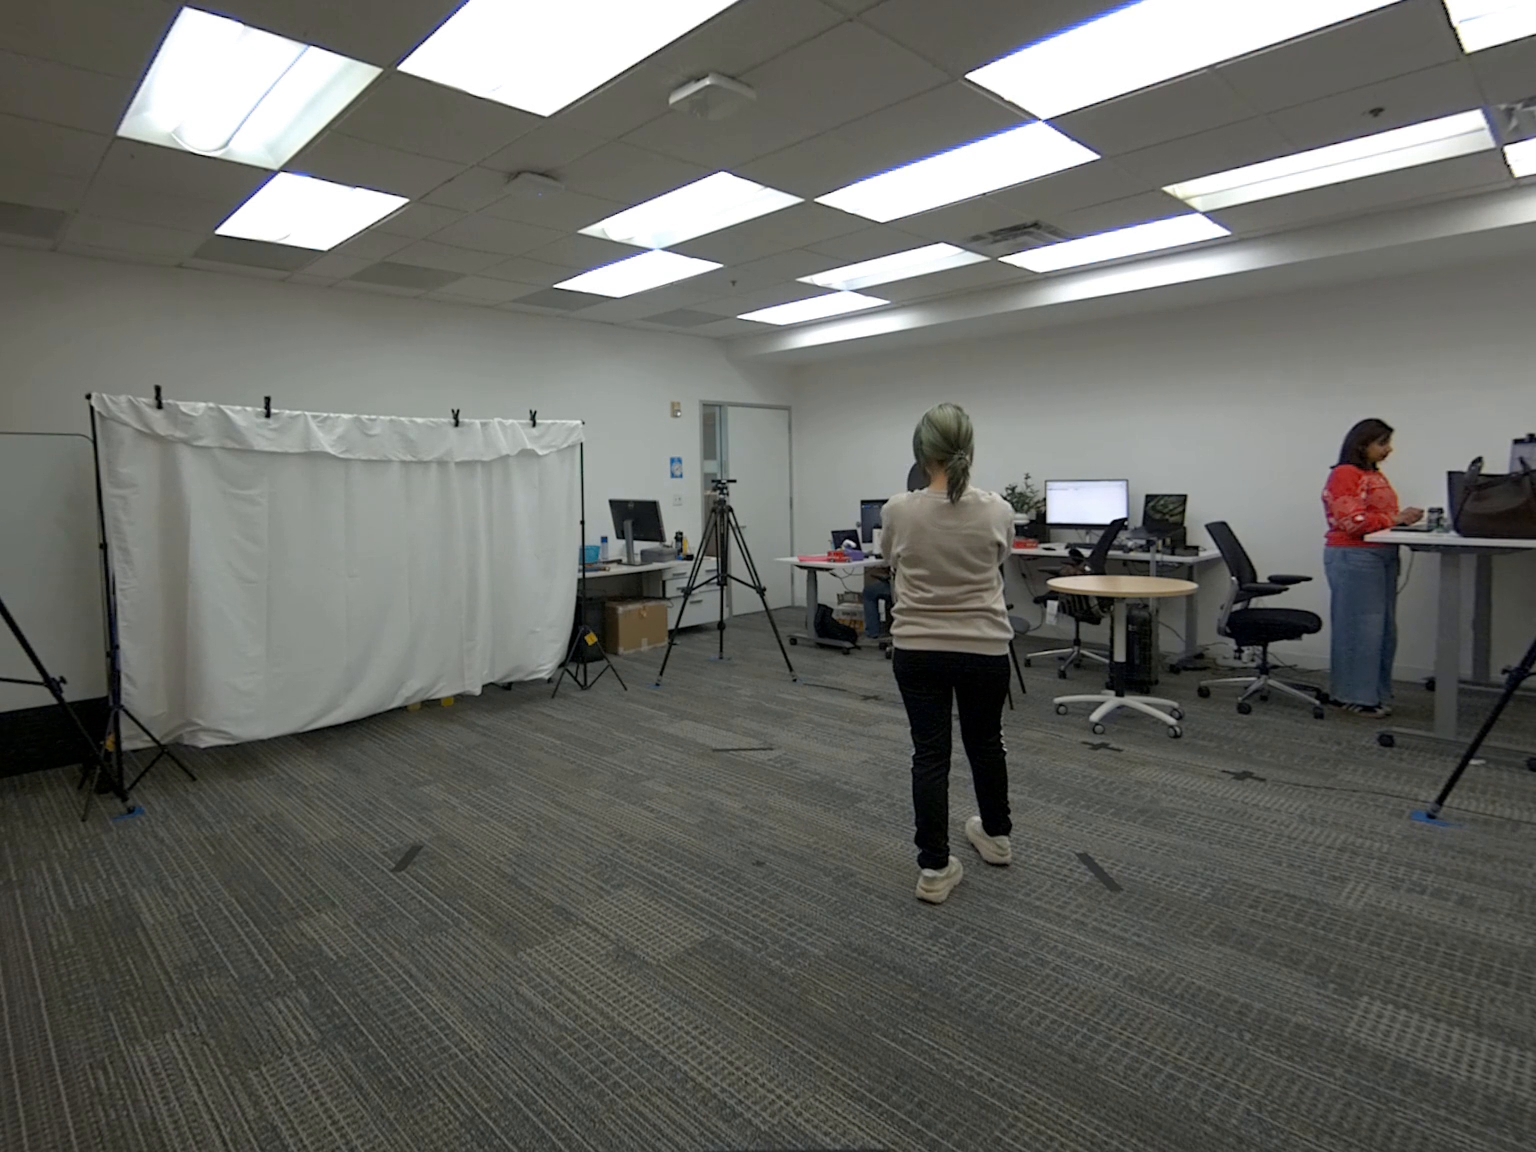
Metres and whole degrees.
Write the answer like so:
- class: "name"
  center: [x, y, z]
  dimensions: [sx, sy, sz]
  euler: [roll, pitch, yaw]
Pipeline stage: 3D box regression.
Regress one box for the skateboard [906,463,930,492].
- class: "skateboard"
  center: [0.675, -0.096, 3.397]
  dimensions: [0.195, 0.799, 0.108]
  euler: [-1, -21, 6]
